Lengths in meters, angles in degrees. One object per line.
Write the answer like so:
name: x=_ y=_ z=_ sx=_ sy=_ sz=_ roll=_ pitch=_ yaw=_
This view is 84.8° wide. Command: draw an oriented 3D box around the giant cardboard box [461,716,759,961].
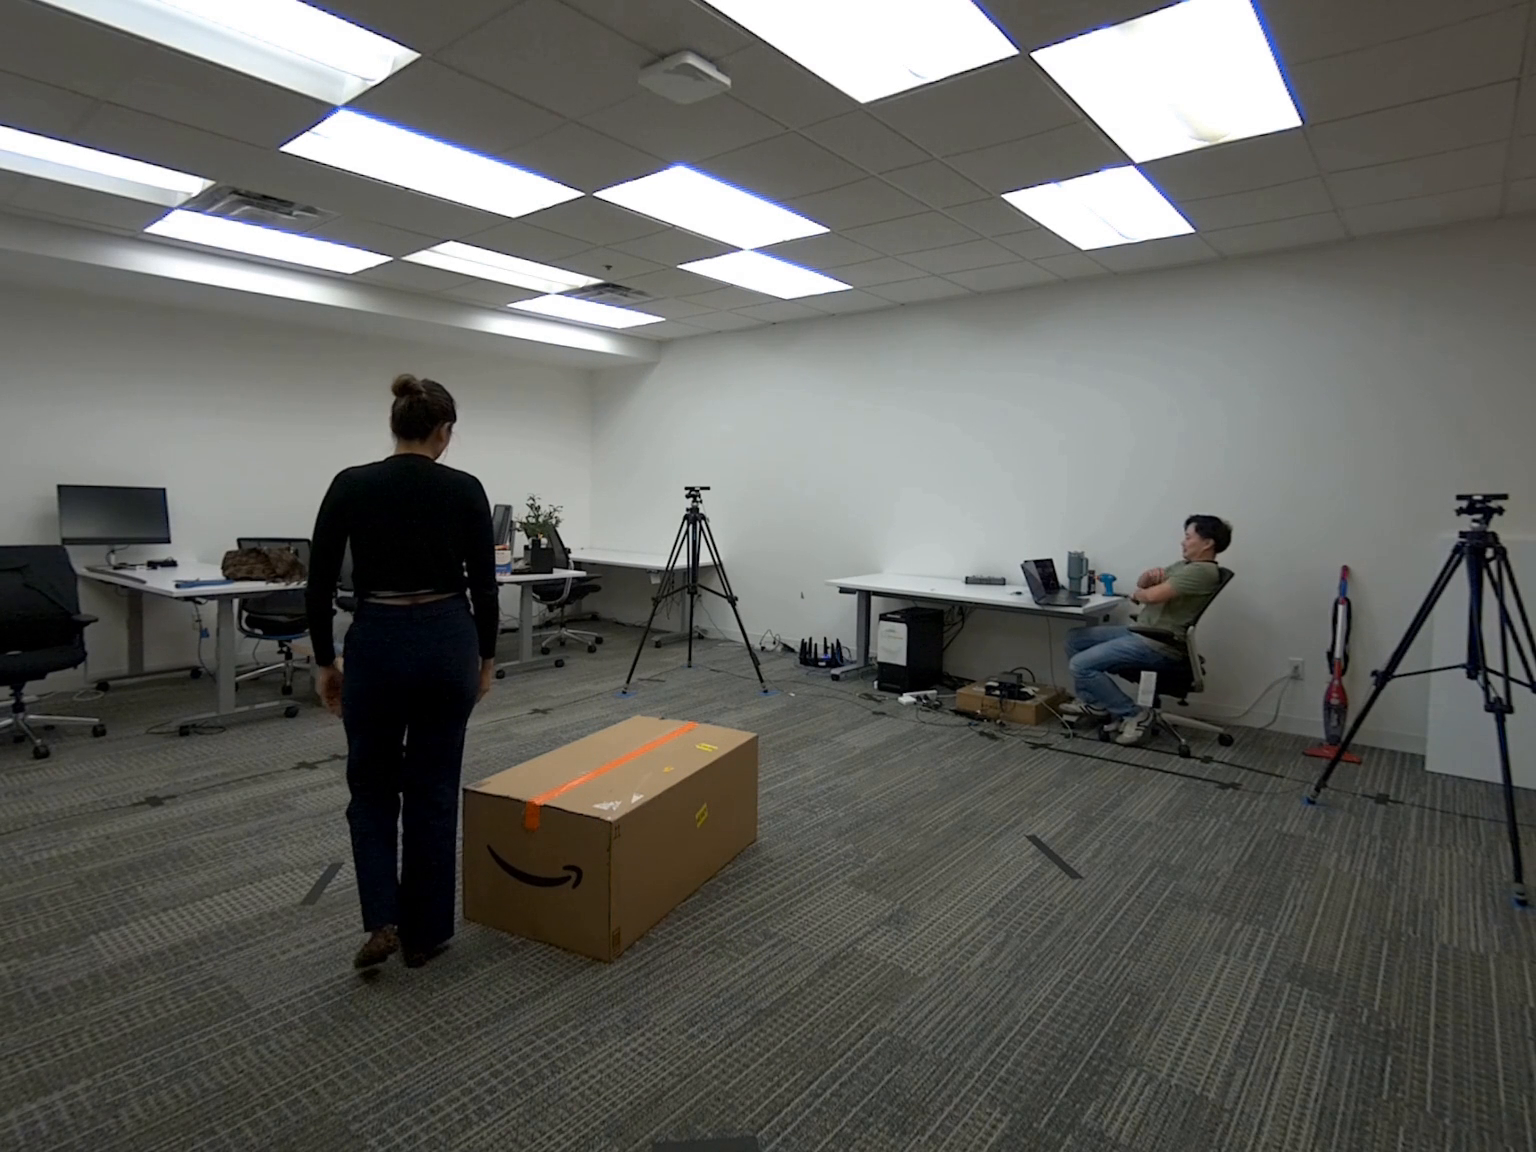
giant cardboard box: x=-0.516 y=0.856 z=3.039 sx=0.592 sy=0.425 sz=1.003 roll=2 pitch=5 yaw=25
